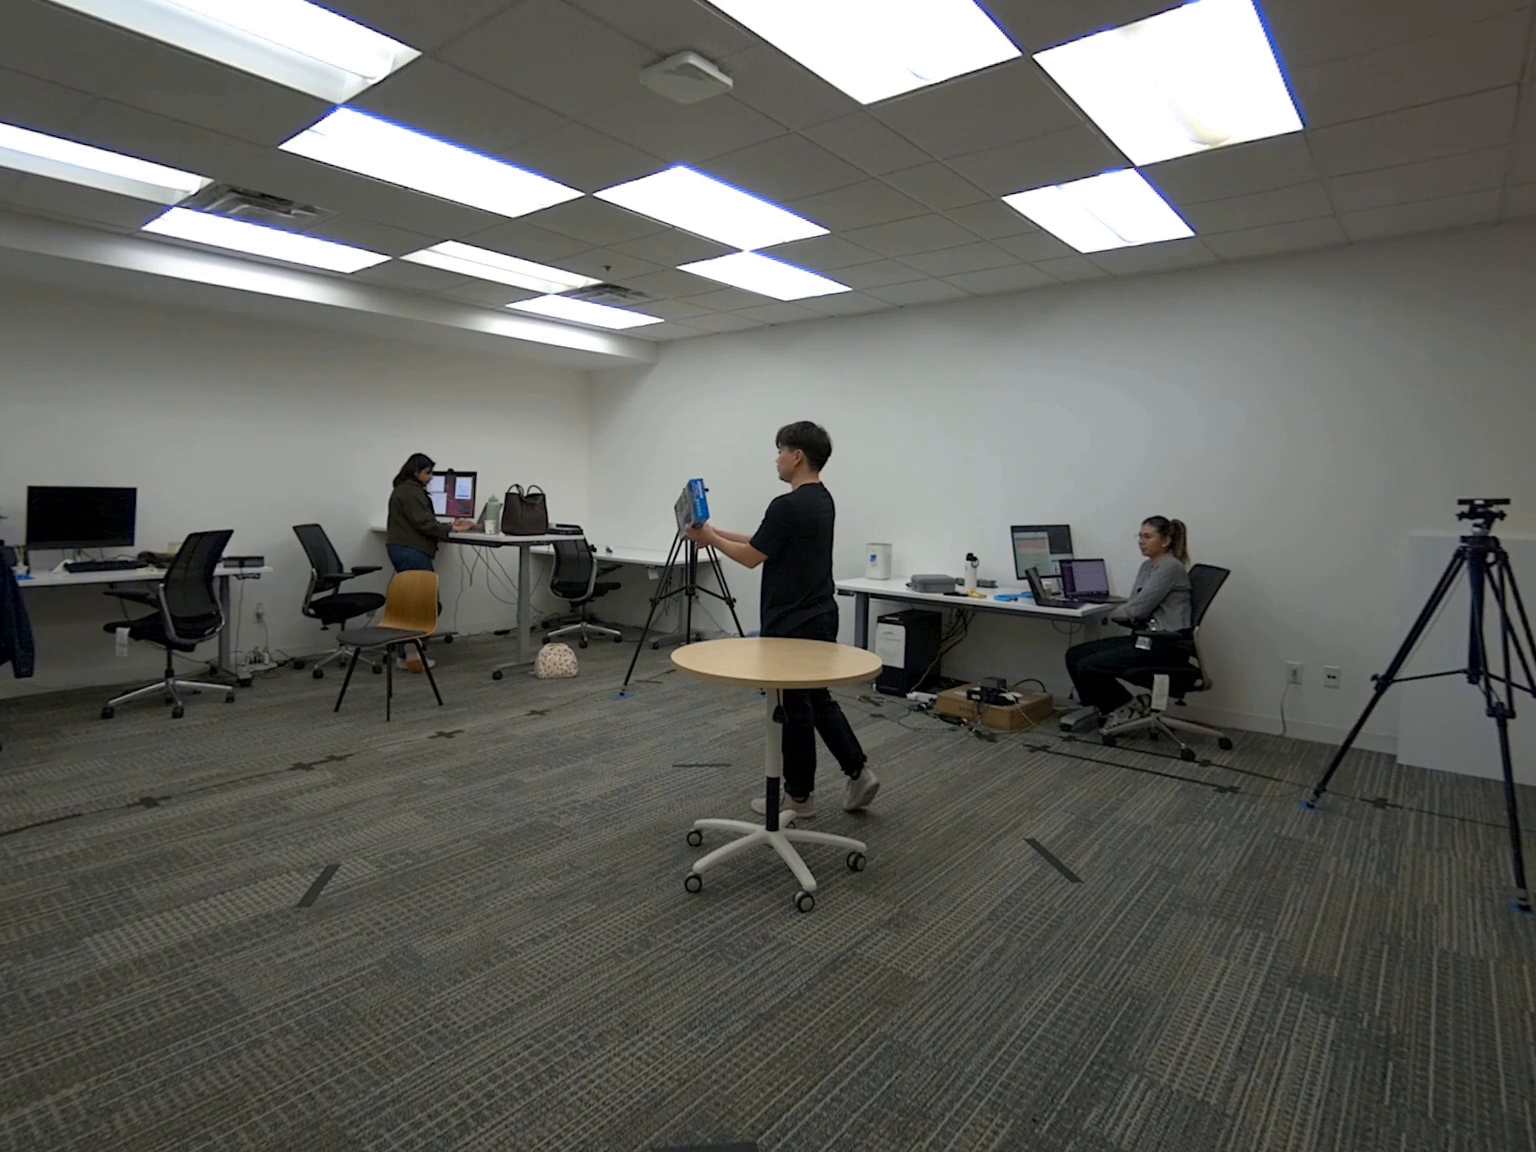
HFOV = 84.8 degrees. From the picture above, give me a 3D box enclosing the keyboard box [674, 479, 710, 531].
[{"bbox_3d":[-0.347,-0.292,3.762,0.058,0.178,0.438,-7,-8,-16],"label":"keyboard box"}]
